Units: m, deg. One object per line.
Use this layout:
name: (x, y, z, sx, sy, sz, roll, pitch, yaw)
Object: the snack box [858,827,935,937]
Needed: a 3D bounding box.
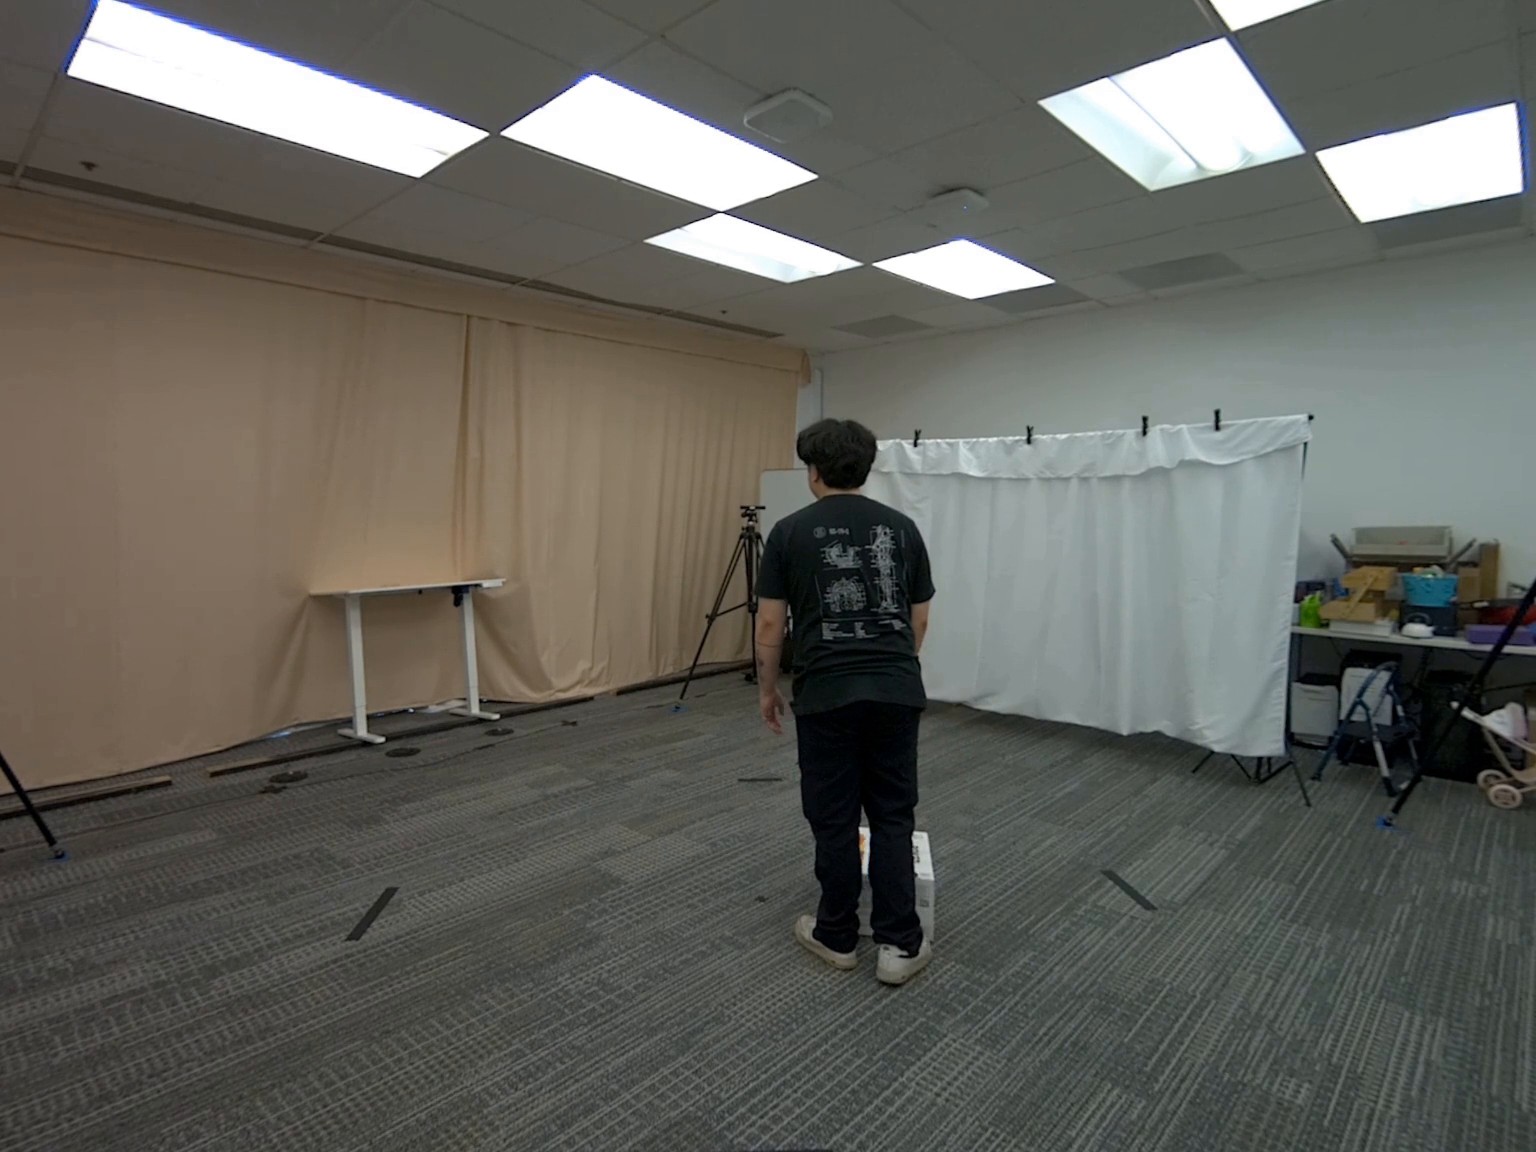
snack box: (0.392, 1.046, 2.898, 0.344, 0.205, 0.402, 0, 4, 9)
